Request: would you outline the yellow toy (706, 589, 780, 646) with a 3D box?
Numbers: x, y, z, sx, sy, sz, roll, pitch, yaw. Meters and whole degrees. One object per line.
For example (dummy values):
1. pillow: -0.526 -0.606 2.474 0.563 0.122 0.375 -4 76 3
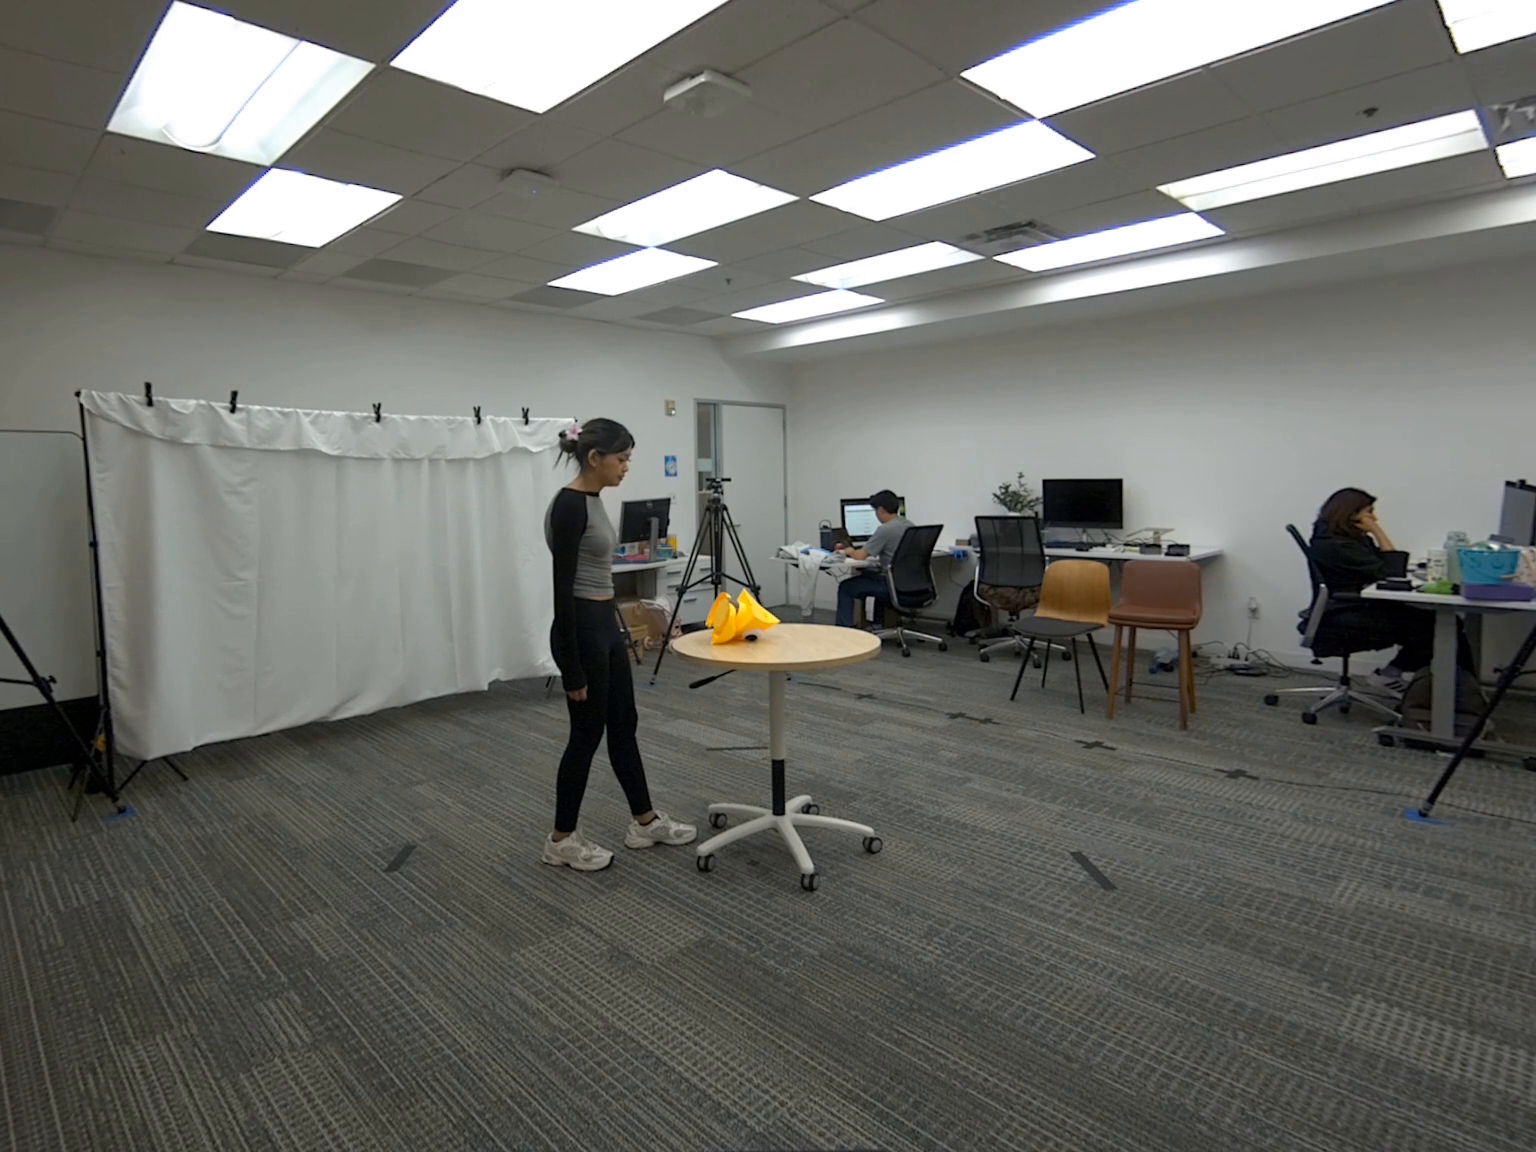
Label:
1. yellow toy: -0.080 0.183 3.191 0.225 0.192 0.211 21 21 -21
